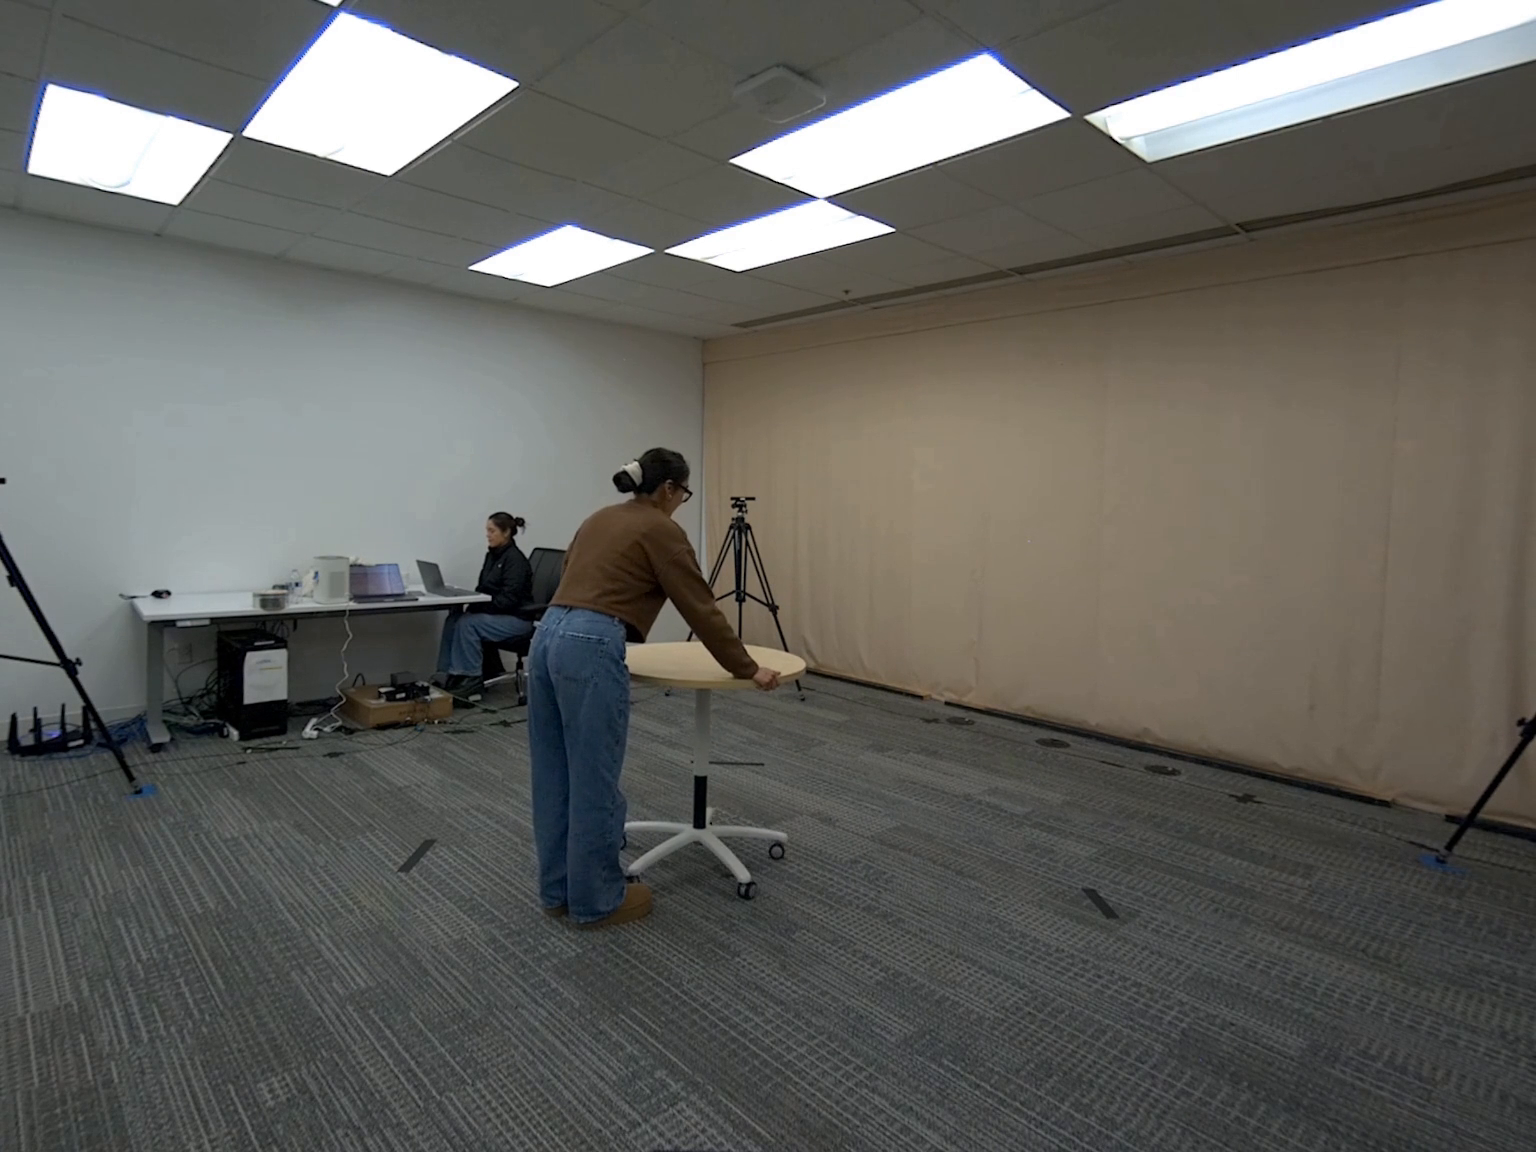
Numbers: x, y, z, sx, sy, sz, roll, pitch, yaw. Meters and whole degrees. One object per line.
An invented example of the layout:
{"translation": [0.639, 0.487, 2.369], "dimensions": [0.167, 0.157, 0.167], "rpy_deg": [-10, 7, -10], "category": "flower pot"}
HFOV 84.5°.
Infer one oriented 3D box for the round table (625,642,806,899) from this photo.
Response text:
{"translation": [-0.258, 0.708, 3.184], "dimensions": [0.763, 0.792, 0.766], "rpy_deg": [2, 4, -1], "category": "round table"}
